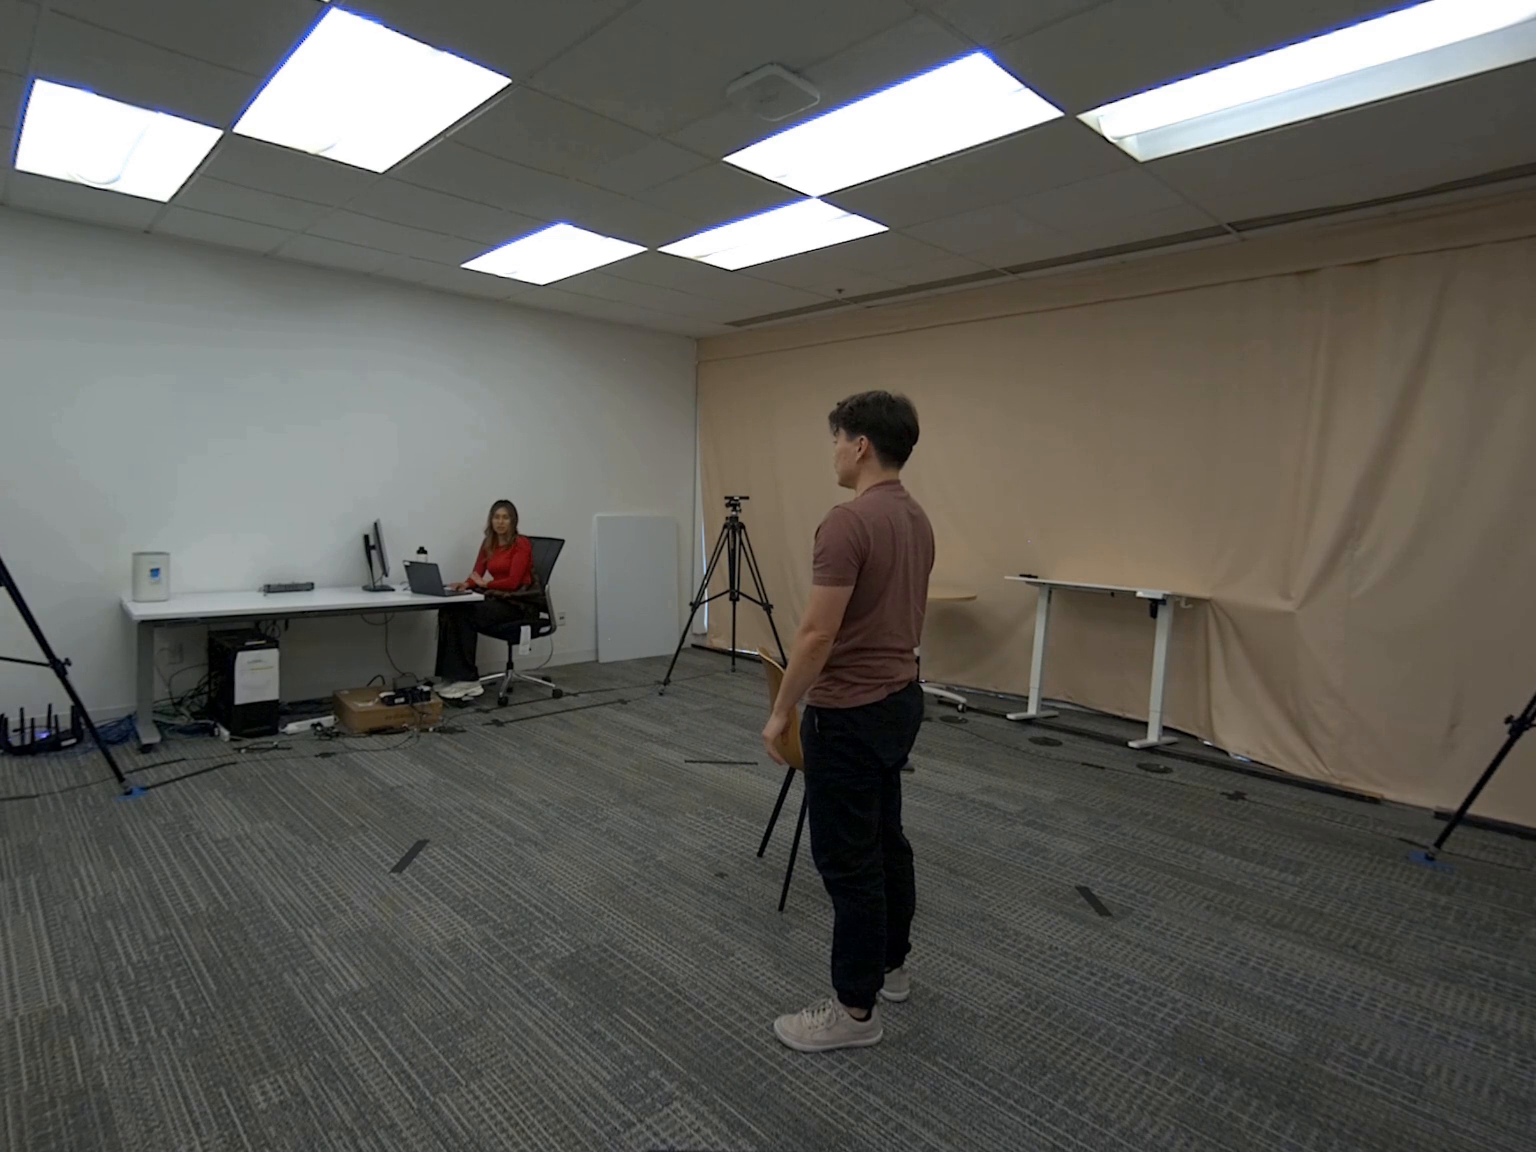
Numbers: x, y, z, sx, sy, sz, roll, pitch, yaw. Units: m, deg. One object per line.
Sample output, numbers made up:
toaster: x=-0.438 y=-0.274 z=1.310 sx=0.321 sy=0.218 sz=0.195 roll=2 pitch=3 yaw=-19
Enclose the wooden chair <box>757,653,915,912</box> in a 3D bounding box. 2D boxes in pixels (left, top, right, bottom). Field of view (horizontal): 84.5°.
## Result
wooden chair: x=0.236 y=0.692 z=3.055 sx=0.520 sy=0.875 sz=0.482 roll=-3 pitch=4 yaw=-9
